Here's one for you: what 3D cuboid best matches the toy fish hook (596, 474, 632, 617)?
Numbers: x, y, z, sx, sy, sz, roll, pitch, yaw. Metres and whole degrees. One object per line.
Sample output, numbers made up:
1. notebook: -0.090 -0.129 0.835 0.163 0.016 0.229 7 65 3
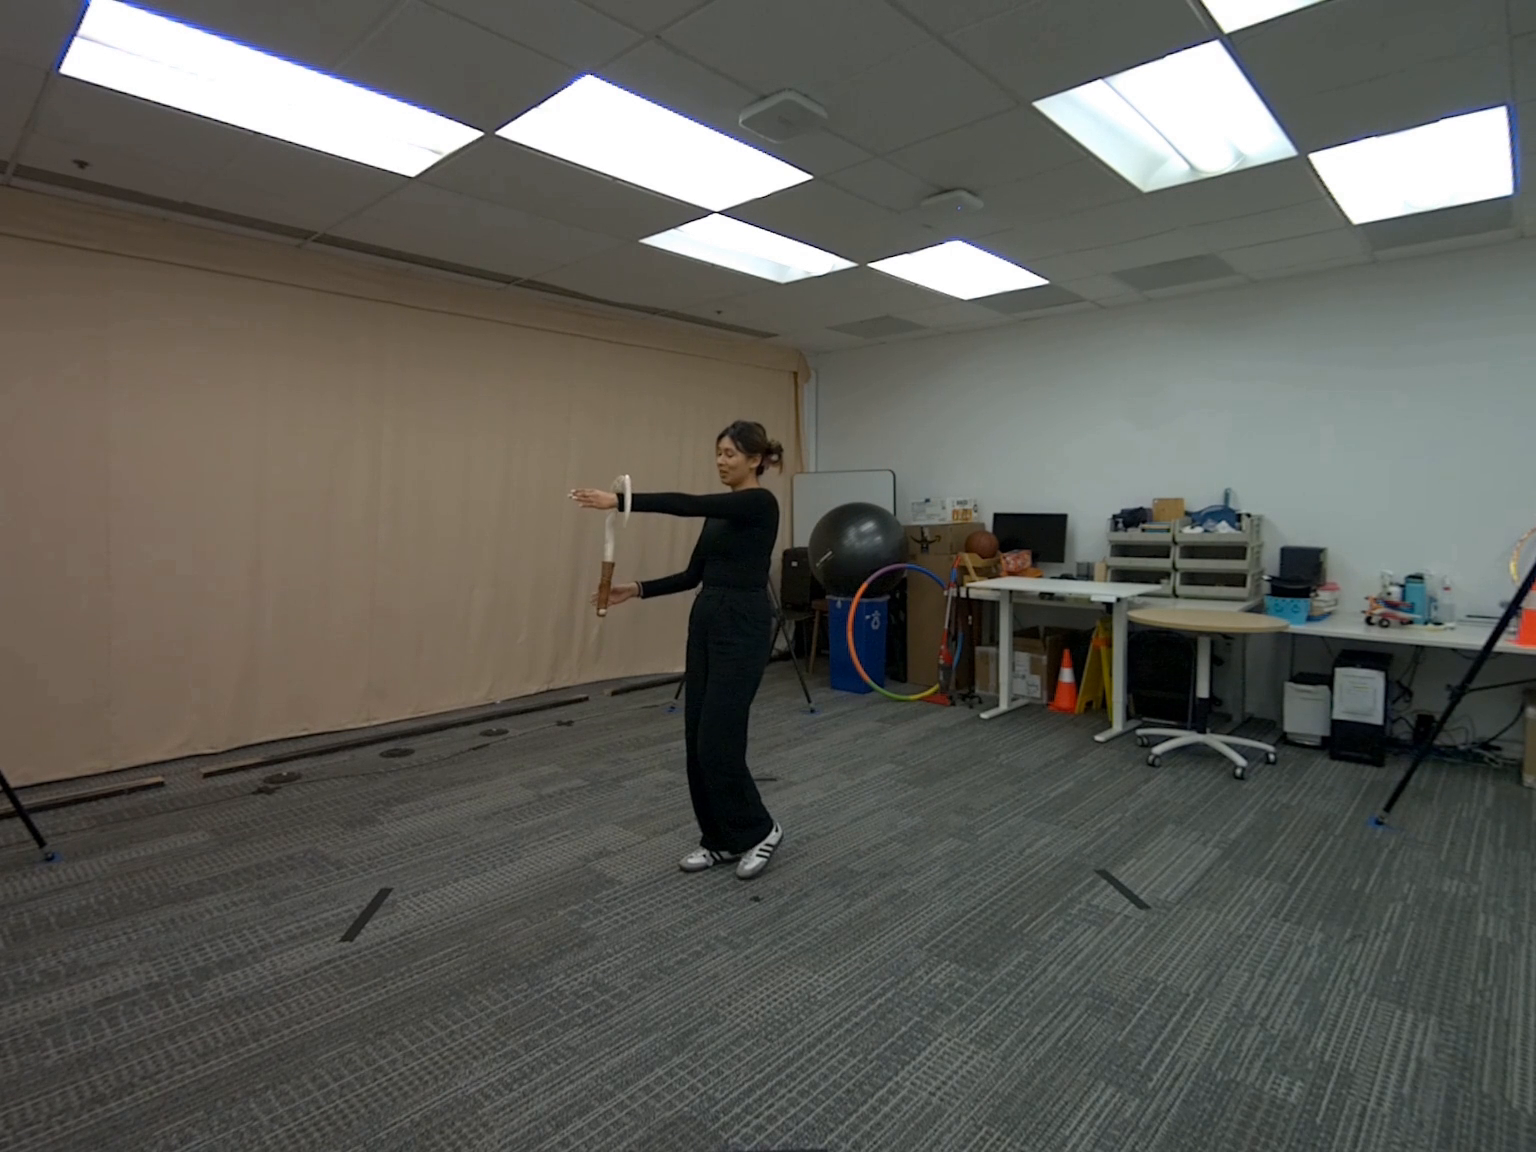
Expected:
1. toy fish hook: -0.534 -0.096 2.964 0.047 0.506 0.230 7 0 -22
